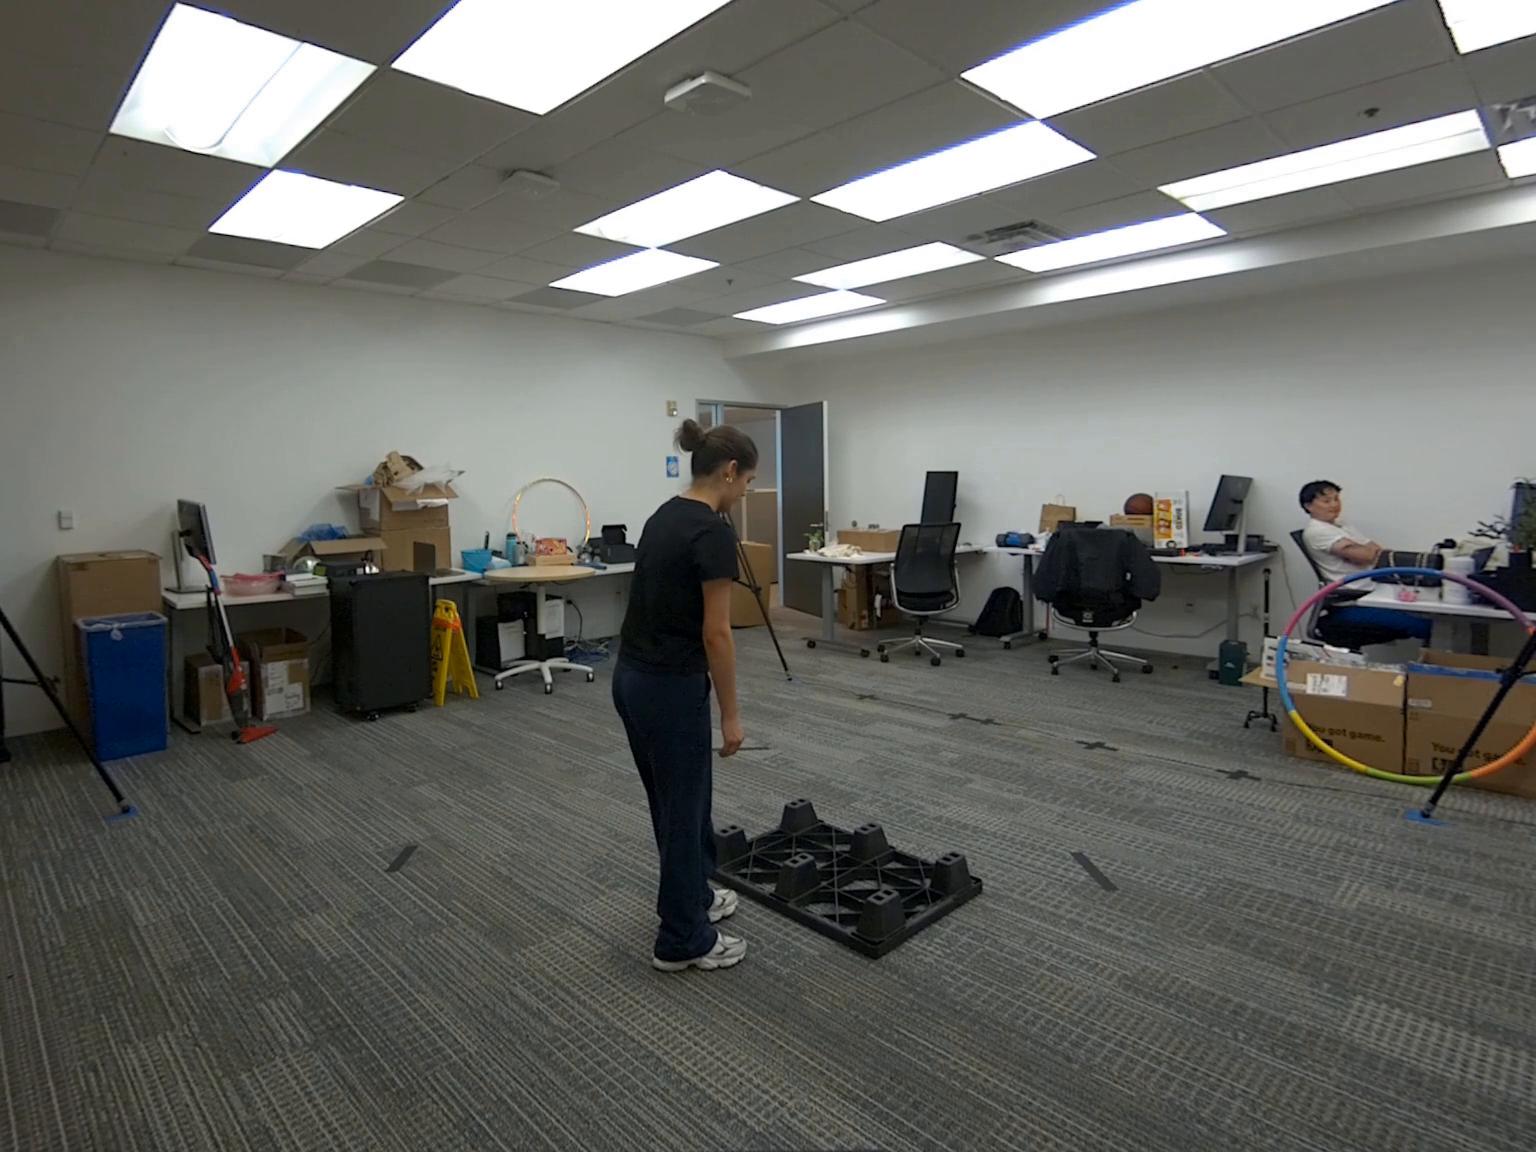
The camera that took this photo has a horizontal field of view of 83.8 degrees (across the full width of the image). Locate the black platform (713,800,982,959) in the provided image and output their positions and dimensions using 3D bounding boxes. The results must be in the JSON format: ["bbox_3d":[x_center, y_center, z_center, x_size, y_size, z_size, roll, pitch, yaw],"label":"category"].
[{"bbox_3d":[0.236,0.989,2.970,0.589,0.142,0.831,-8,10,-44],"label":"black platform"}]
